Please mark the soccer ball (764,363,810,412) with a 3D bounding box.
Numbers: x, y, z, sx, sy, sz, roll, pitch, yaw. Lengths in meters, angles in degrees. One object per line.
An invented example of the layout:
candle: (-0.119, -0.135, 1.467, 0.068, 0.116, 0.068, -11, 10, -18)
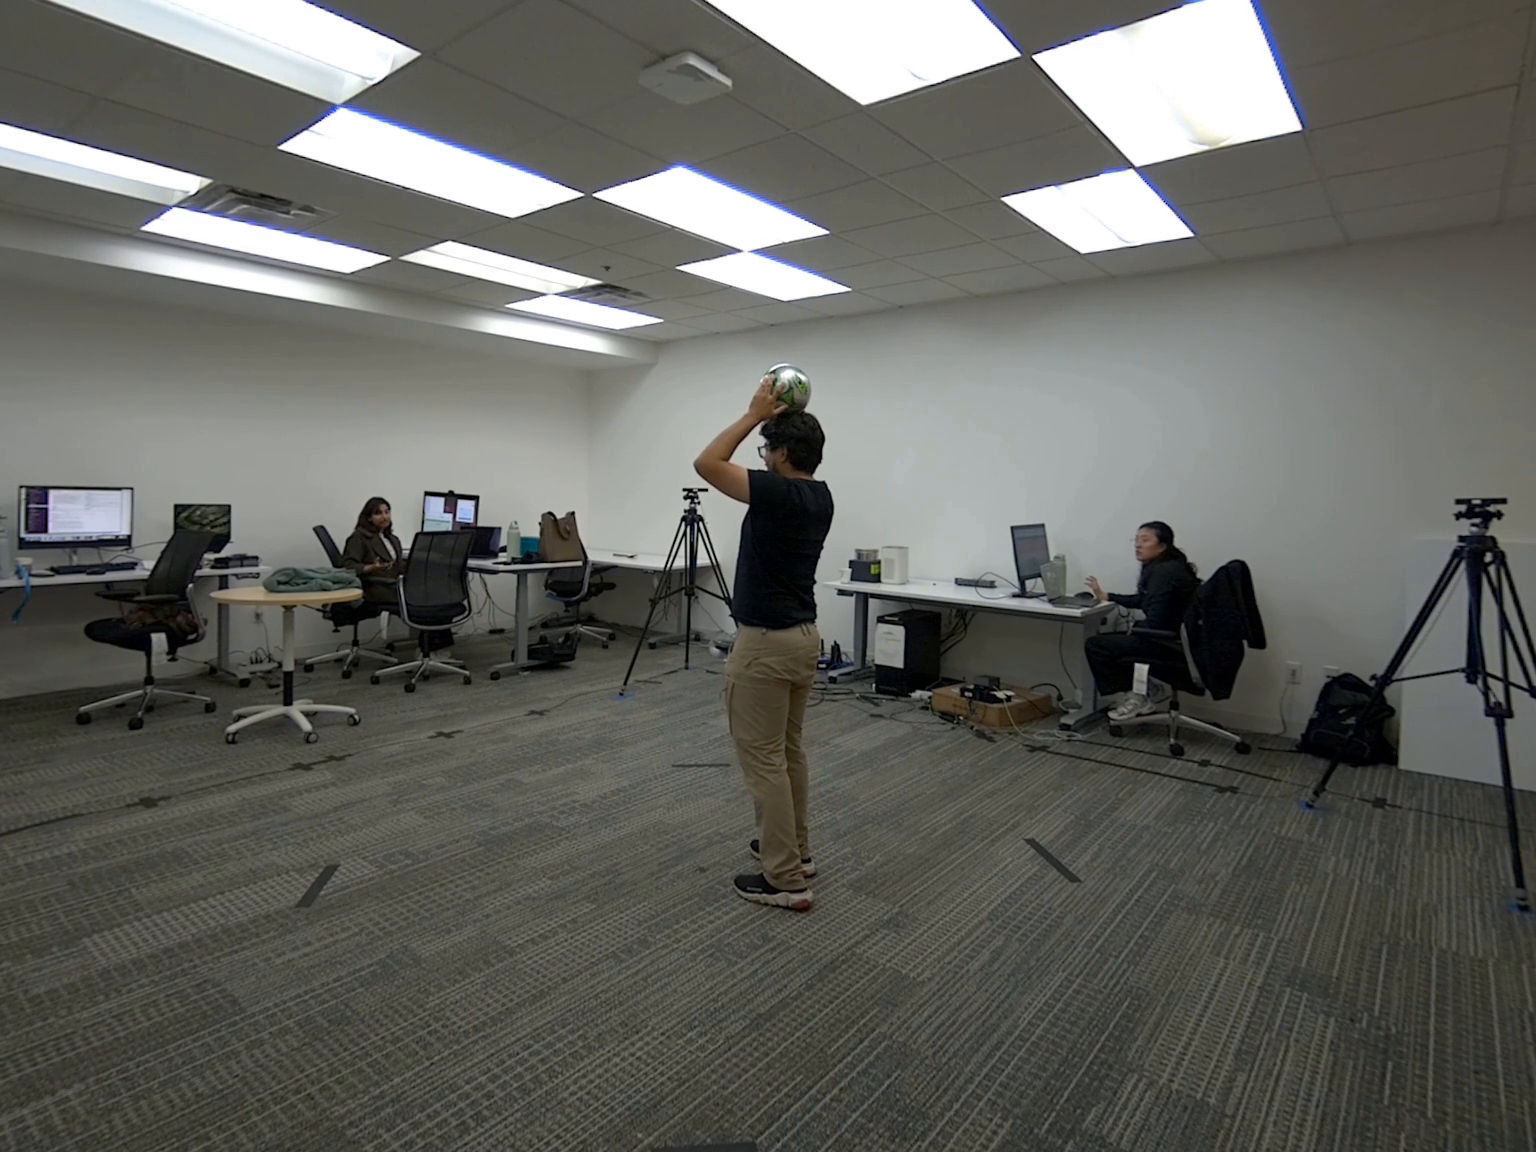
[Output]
soccer ball: (0.049, -0.653, 2.999, 0.187, 0.187, 0.188, 1, 4, -2)
